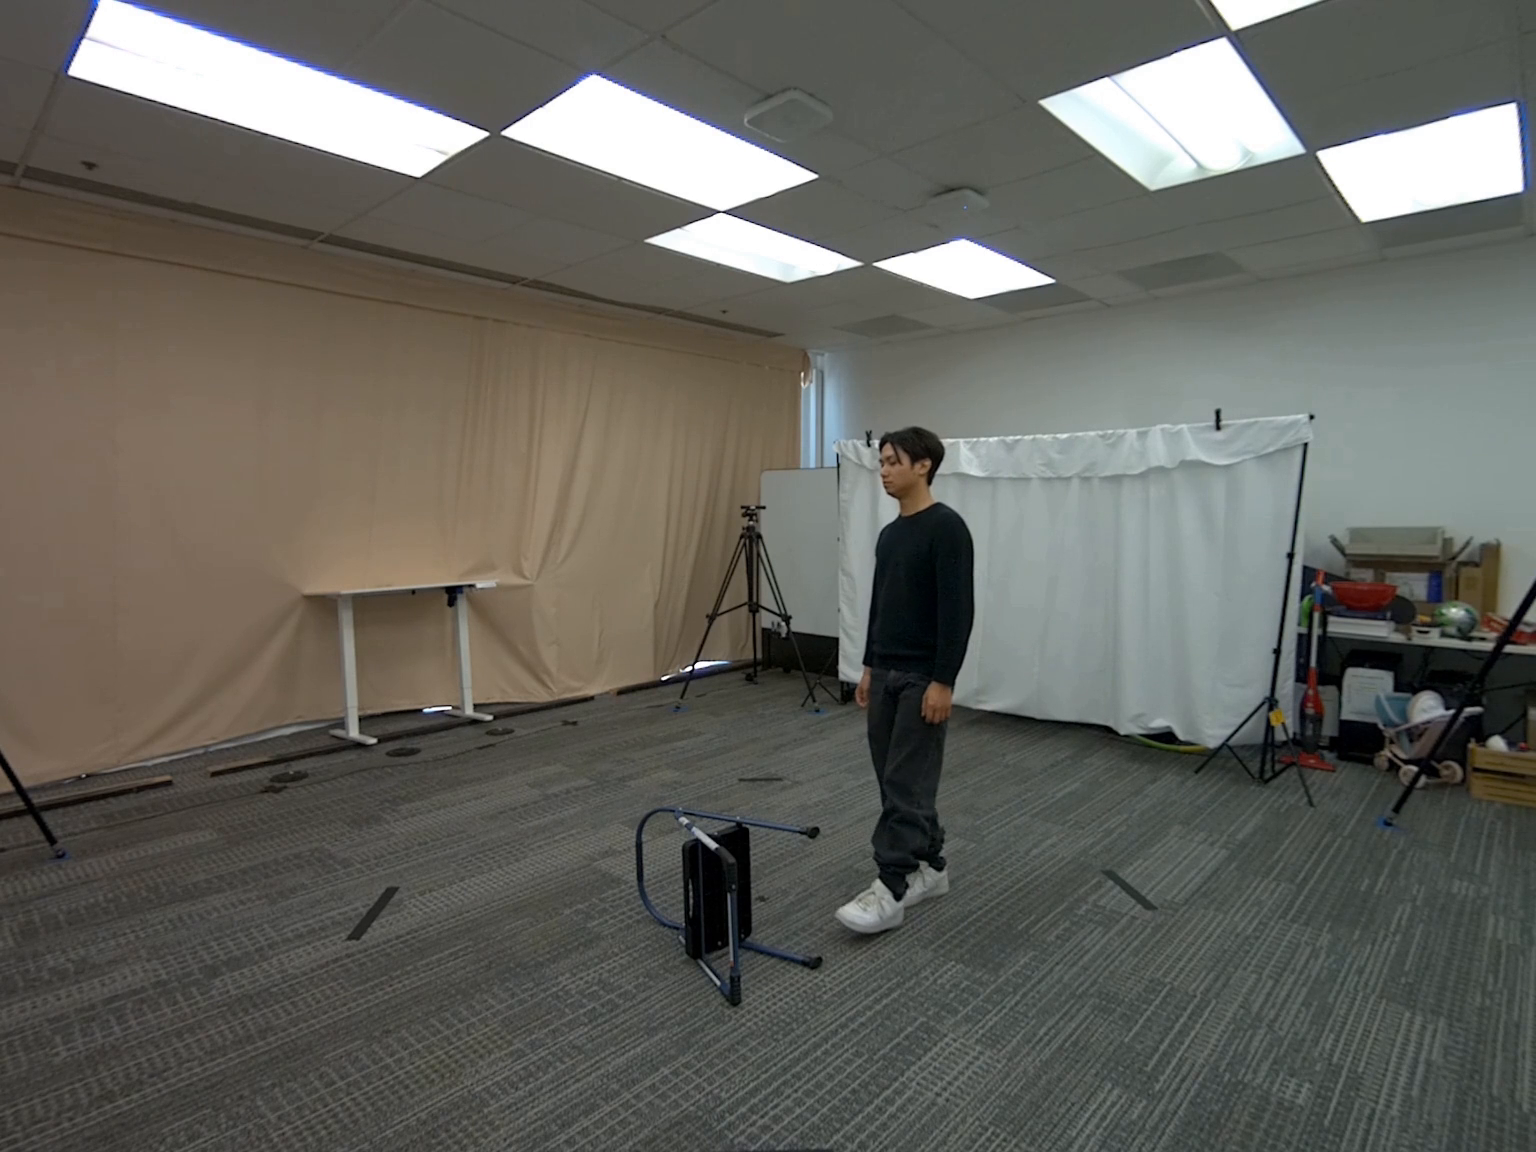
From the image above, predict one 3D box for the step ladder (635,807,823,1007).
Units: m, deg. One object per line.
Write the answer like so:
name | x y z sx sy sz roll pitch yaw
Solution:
step ladder | -0.170 0.967 2.652 0.338 0.430 0.626 -3 3 -42
